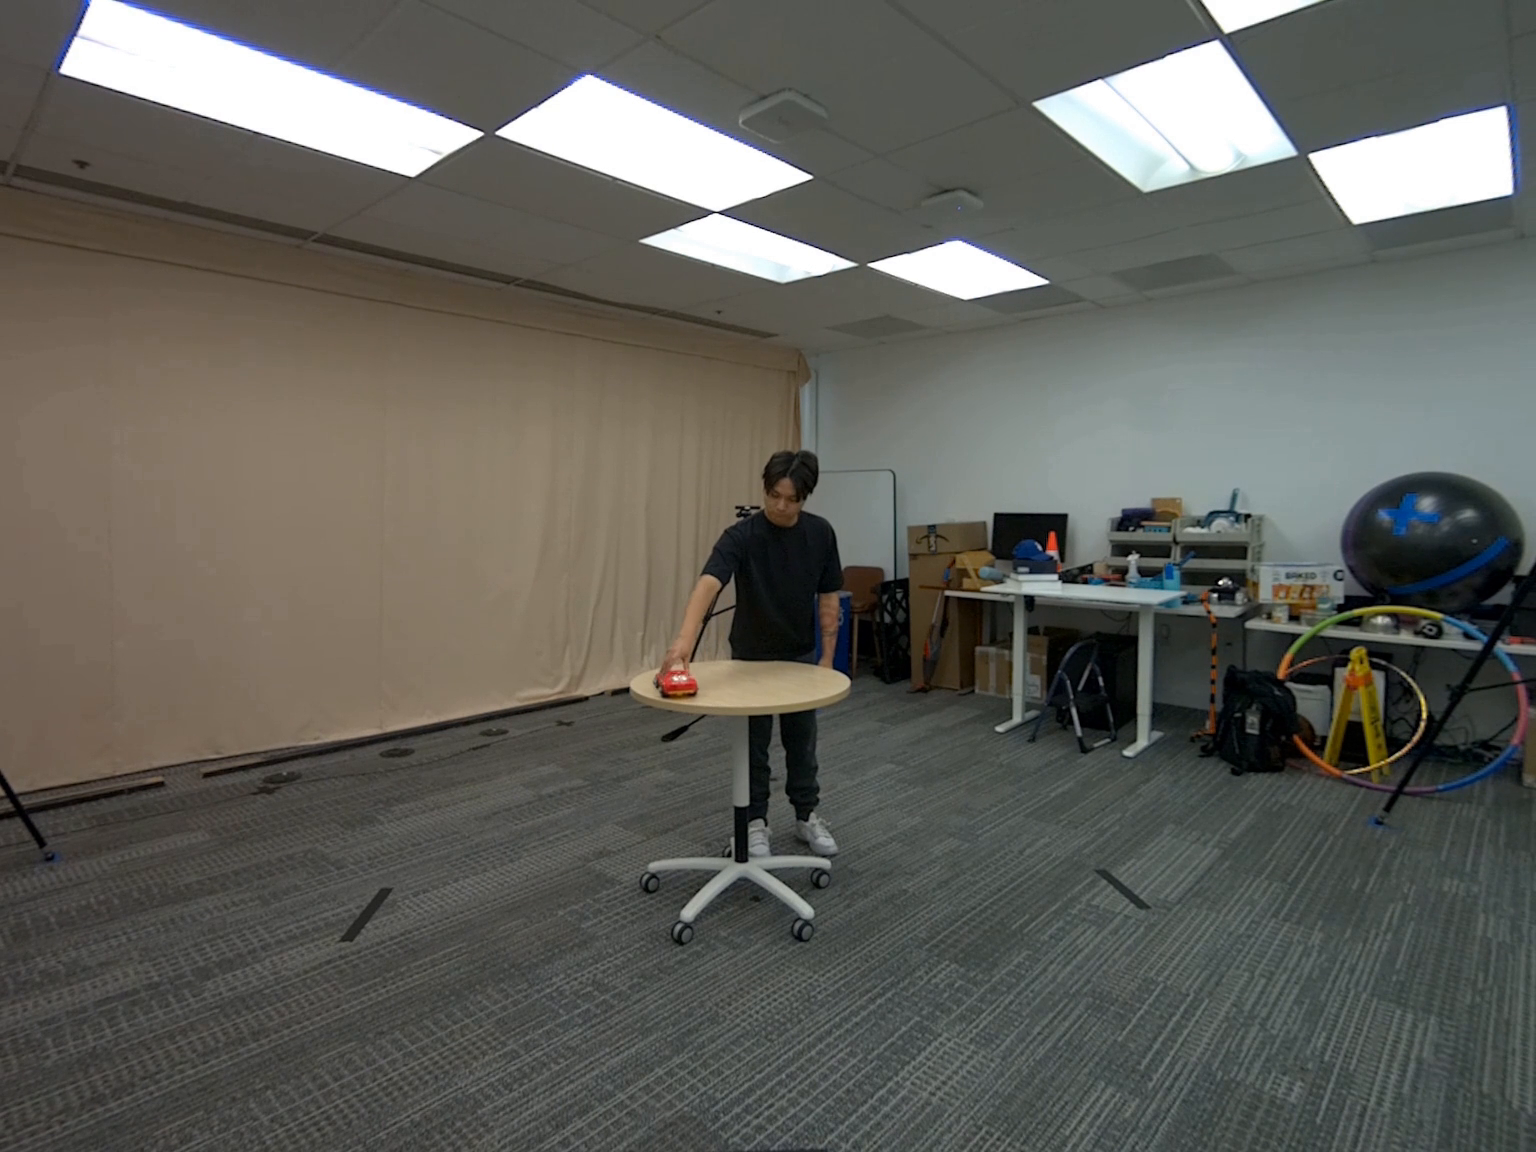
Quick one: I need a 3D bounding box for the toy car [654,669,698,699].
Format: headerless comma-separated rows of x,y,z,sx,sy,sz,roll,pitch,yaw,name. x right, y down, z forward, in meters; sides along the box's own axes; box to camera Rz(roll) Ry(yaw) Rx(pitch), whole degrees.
-0.298,0.354,2.753,0.129,0.083,0.256,-1,-7,-13,toy car
